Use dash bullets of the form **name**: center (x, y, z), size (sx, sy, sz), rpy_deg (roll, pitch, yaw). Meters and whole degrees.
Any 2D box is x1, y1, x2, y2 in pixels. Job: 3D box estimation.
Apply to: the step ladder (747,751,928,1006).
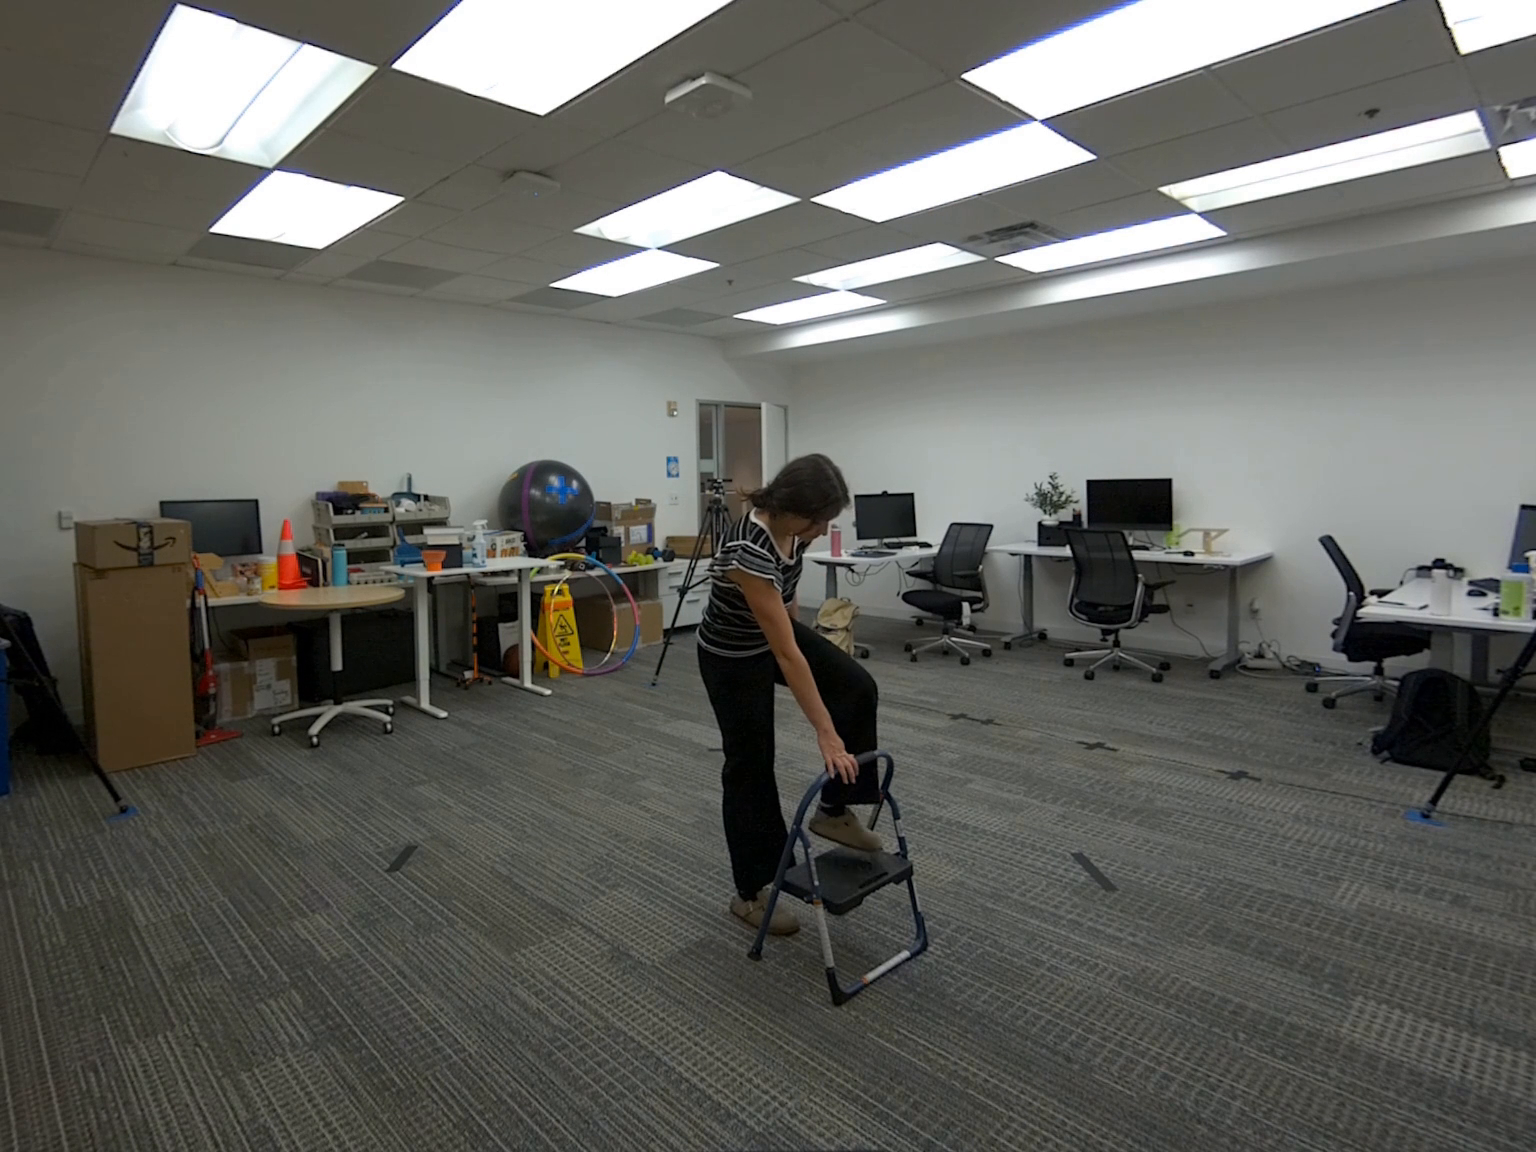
- **step ladder**: center (0.211, 0.810, 2.492), size (0.419, 0.604, 0.360), rpy_deg (-6, 6, -44)
